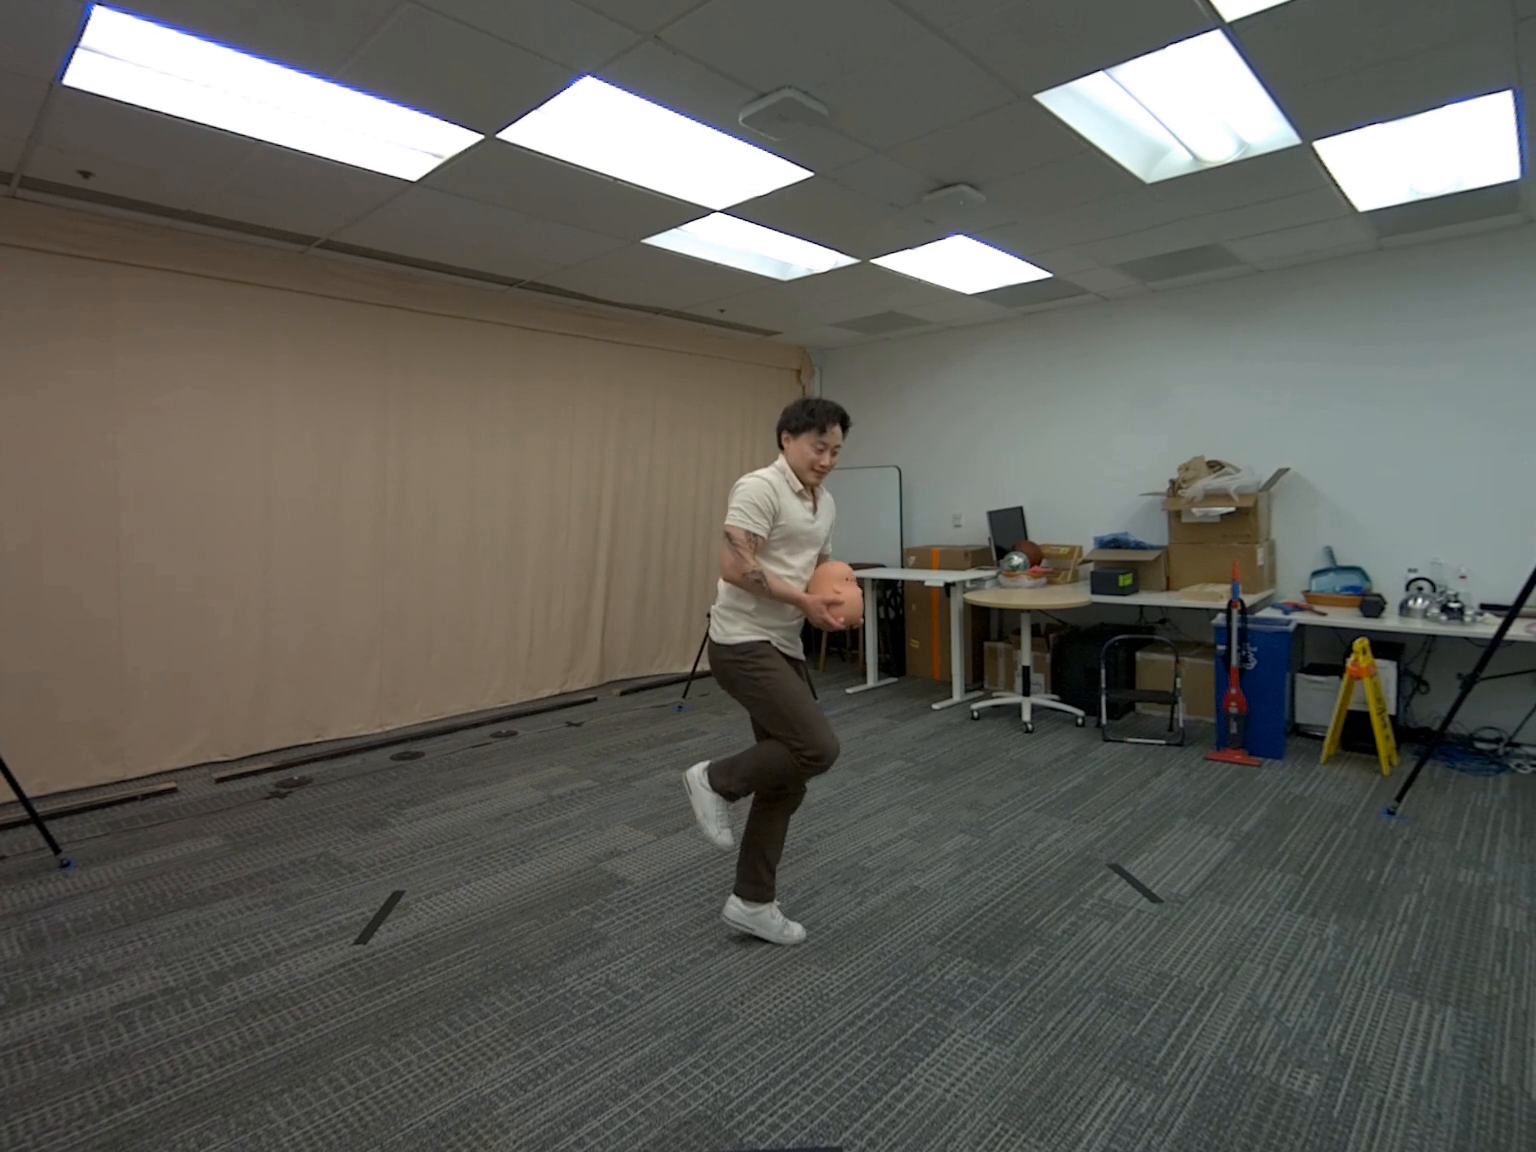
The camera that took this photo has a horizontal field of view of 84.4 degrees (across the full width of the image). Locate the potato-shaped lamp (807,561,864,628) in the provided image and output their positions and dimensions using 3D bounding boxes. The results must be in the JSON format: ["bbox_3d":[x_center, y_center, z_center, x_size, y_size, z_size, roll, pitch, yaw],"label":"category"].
[{"bbox_3d":[0.206,0.085,2.617,0.177,0.198,0.159,1,-1,44],"label":"potato-shaped lamp"}]
